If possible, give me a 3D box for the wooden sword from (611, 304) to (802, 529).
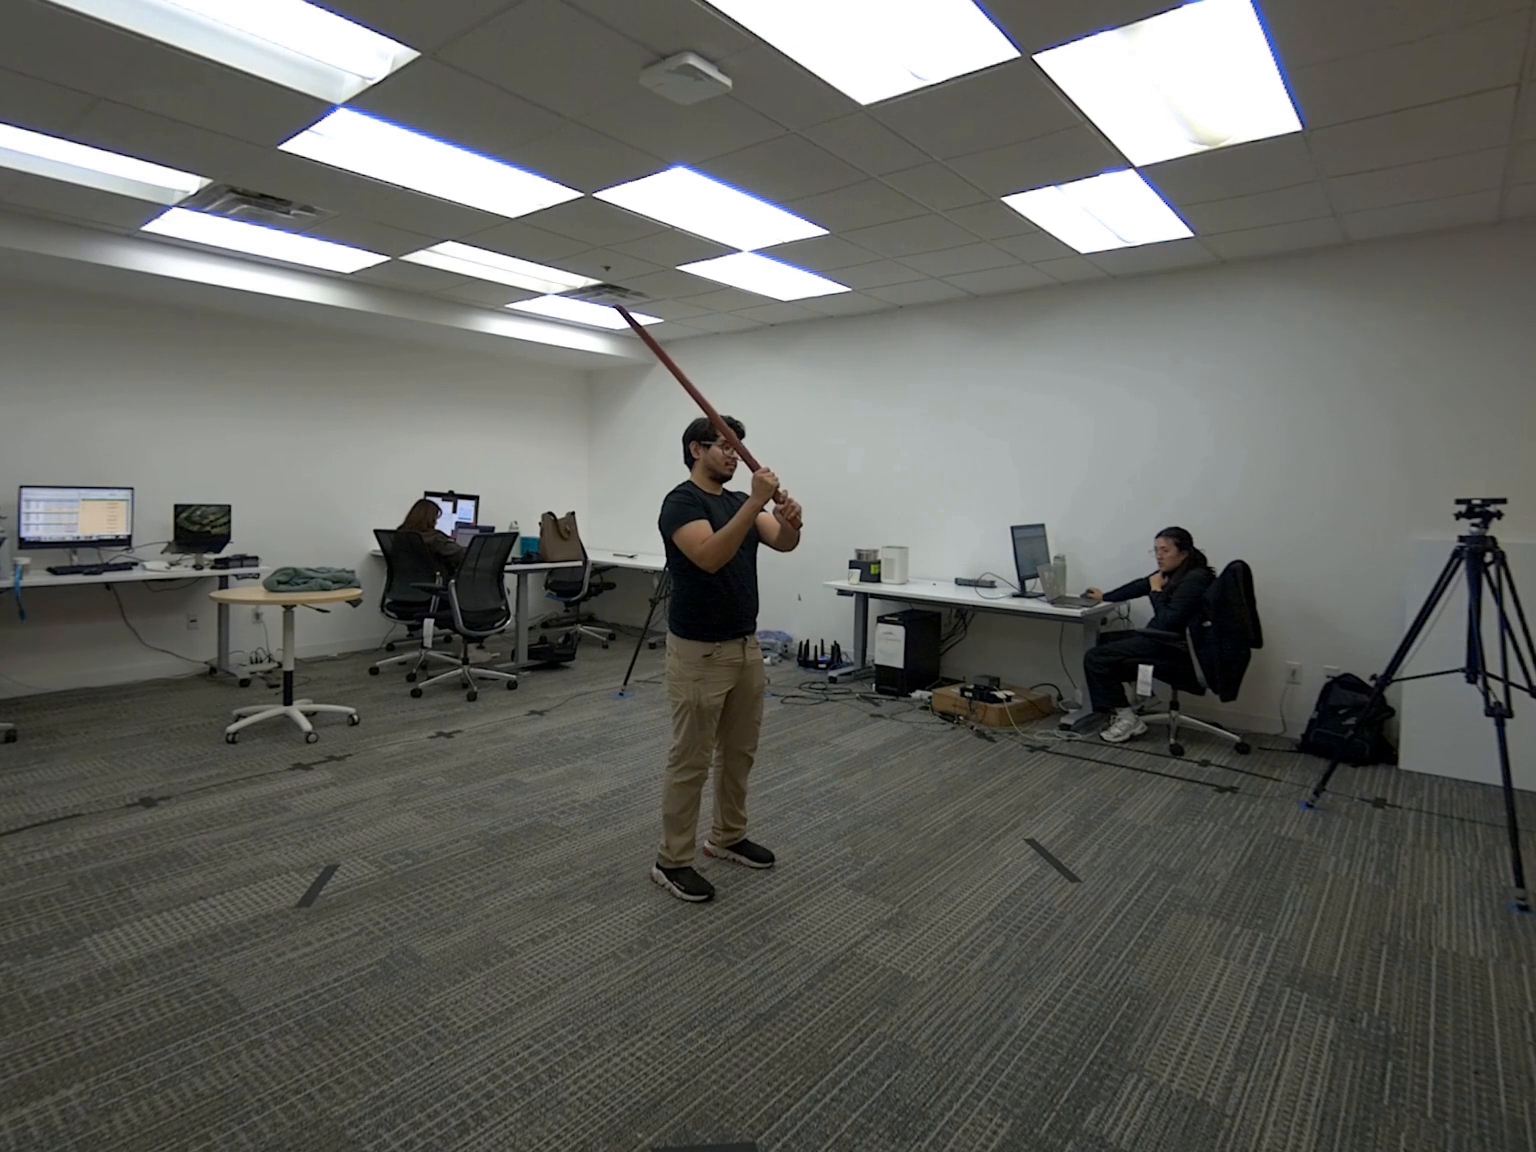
[{"bbox_3d":[-0.213,-0.548,2.799,0.051,1.047,0.023,-36,-15,-9],"label":"wooden sword"}]
